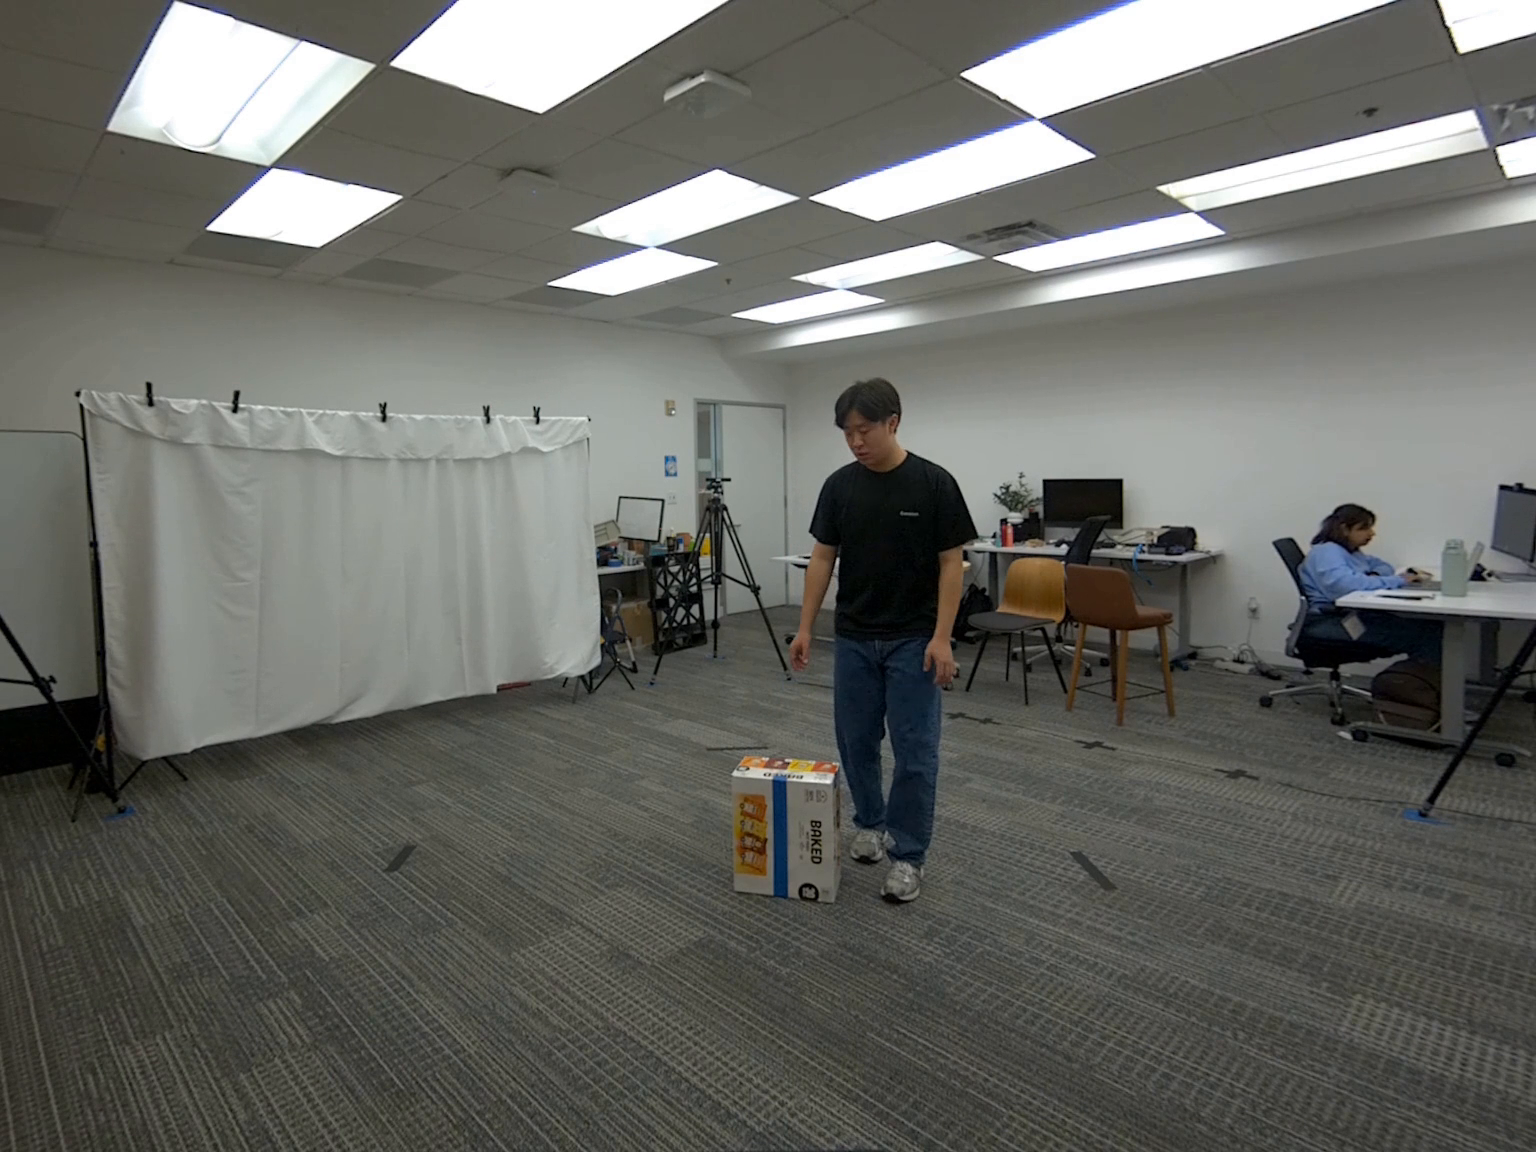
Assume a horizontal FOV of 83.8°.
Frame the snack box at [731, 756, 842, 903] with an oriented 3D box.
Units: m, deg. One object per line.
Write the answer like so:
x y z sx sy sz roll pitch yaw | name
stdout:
0.072 0.856 2.925 0.345 0.403 0.203 0 5 15 | snack box
